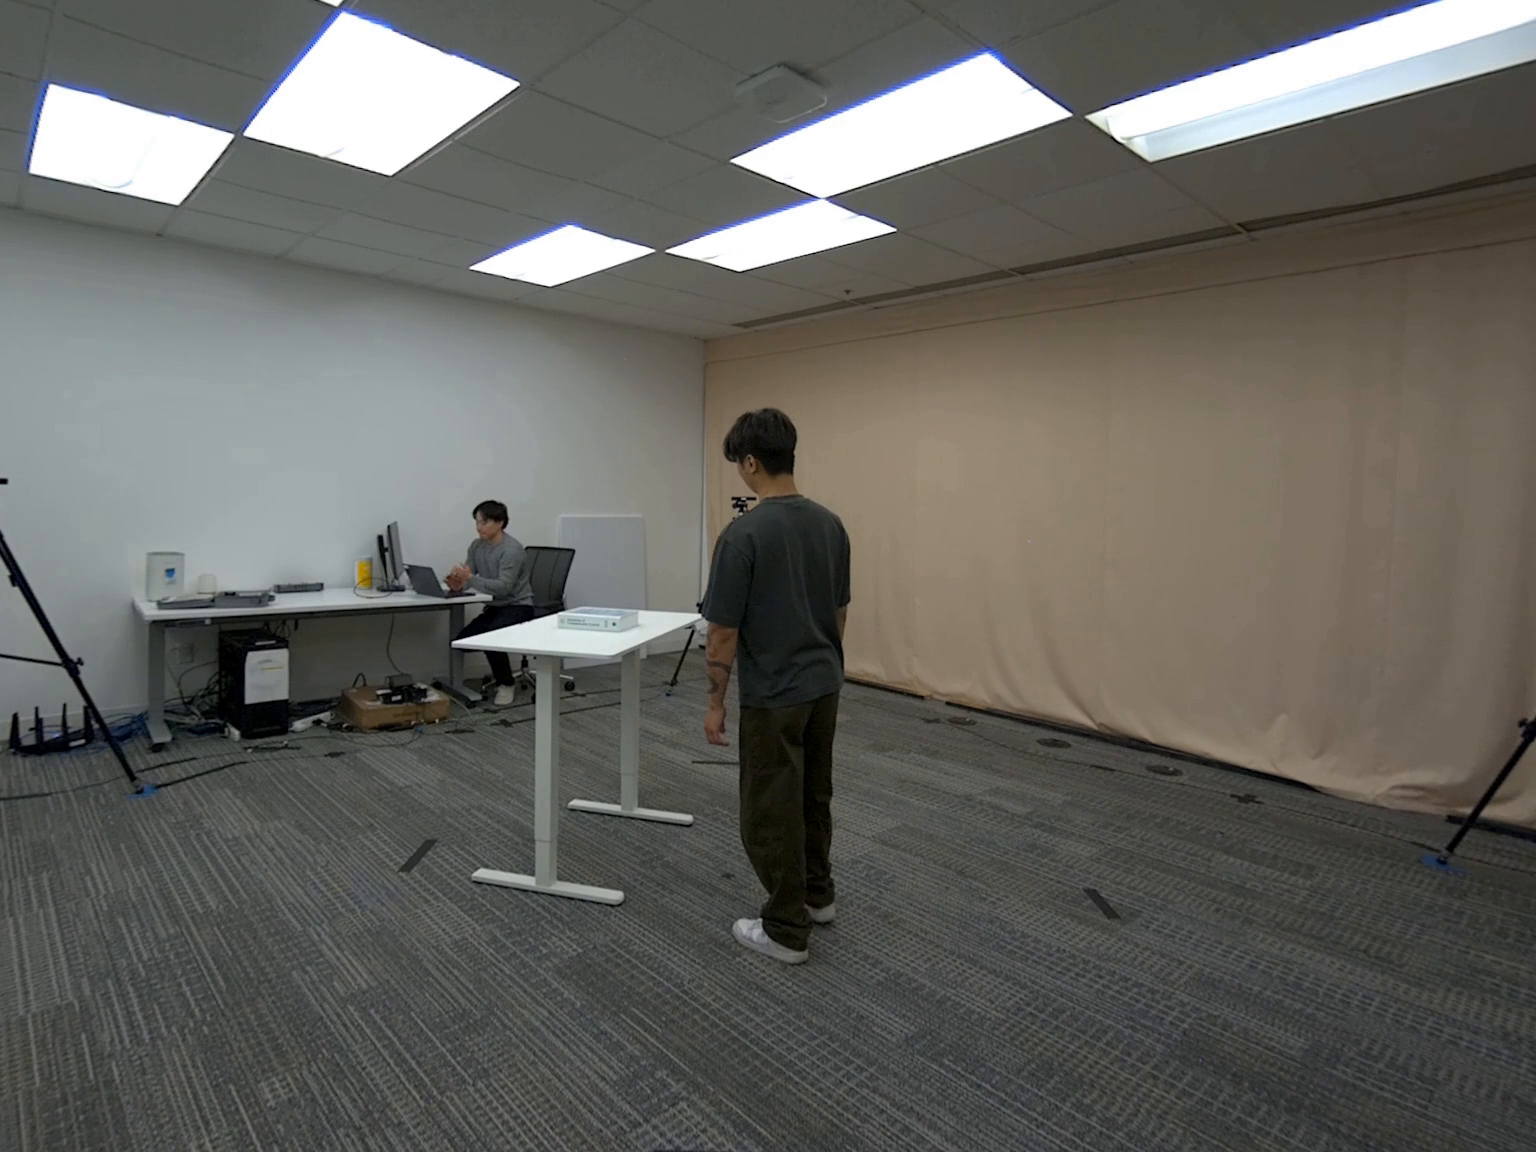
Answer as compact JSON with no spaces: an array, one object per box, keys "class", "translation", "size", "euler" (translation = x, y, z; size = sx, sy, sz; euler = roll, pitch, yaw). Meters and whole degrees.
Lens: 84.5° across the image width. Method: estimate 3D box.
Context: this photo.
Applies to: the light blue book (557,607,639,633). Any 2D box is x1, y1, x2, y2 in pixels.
[{"class":"light blue book","translation":[-0.671,0.170,3.270],"size":[0.264,0.059,0.189],"euler":[3,5,14]}]
